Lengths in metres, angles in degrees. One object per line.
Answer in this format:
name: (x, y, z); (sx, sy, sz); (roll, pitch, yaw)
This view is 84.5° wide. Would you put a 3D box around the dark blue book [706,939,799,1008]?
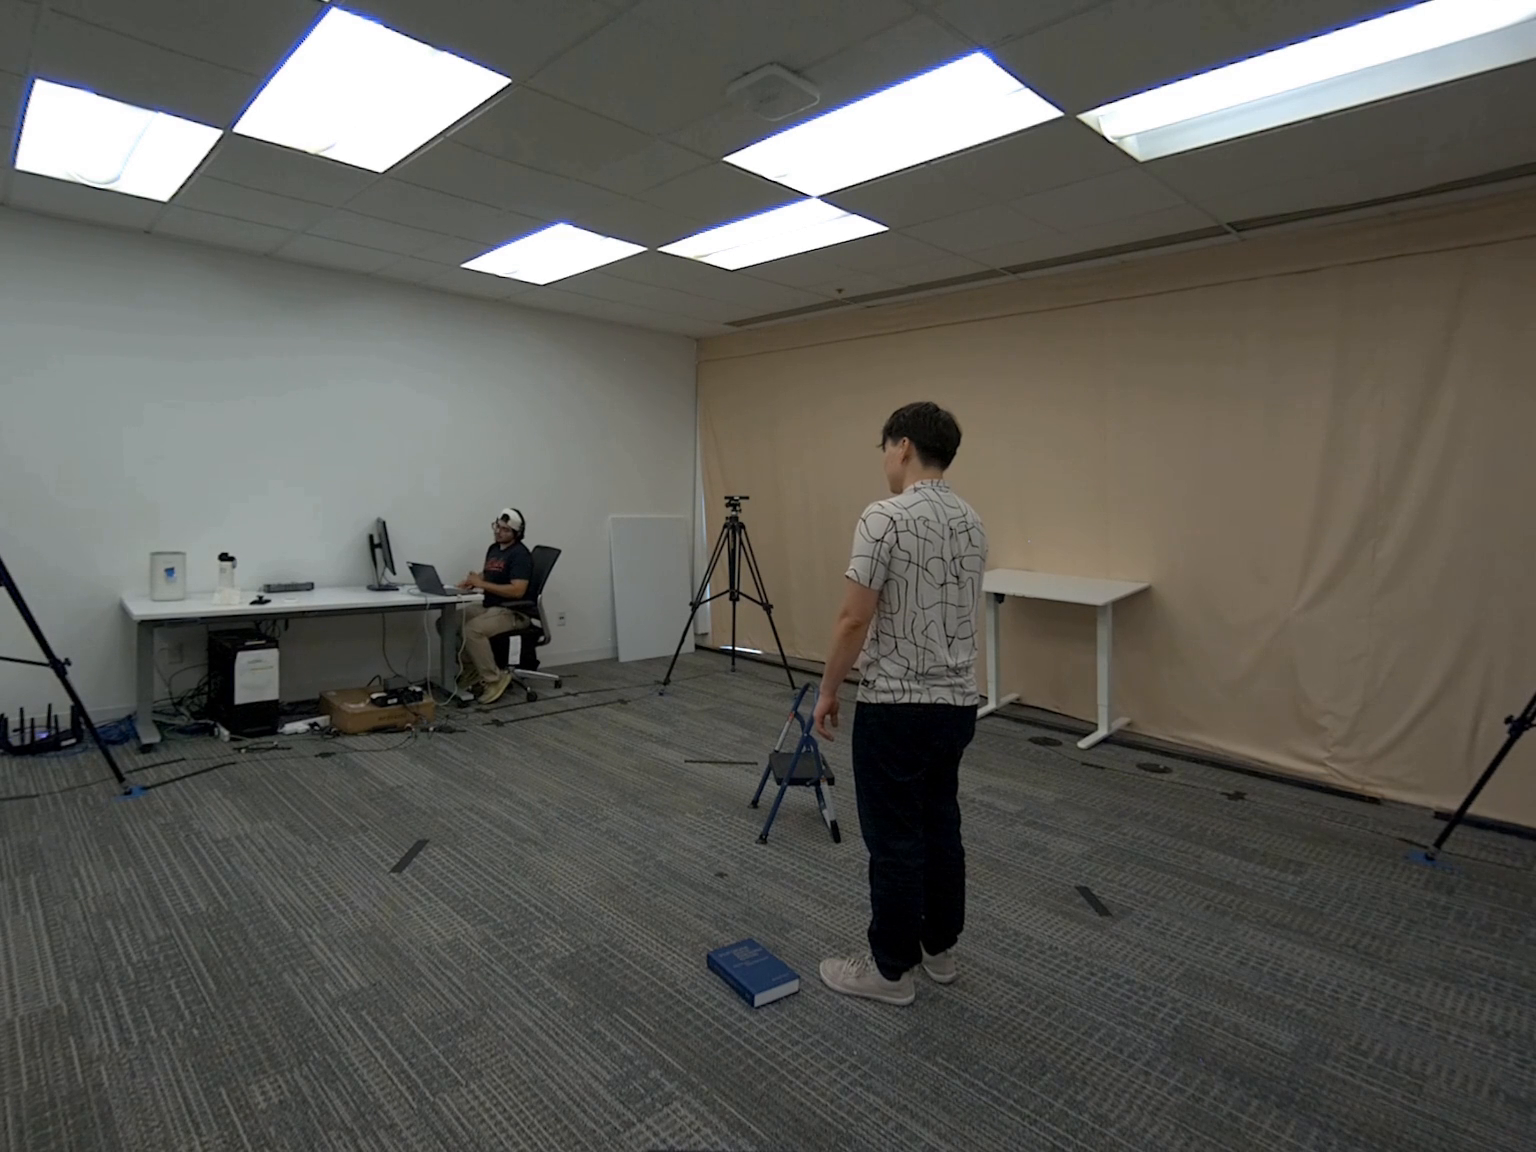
dark blue book: (-0.046, 1.146, 2.434); (0.160, 0.045, 0.251); (-2, 6, -35)
